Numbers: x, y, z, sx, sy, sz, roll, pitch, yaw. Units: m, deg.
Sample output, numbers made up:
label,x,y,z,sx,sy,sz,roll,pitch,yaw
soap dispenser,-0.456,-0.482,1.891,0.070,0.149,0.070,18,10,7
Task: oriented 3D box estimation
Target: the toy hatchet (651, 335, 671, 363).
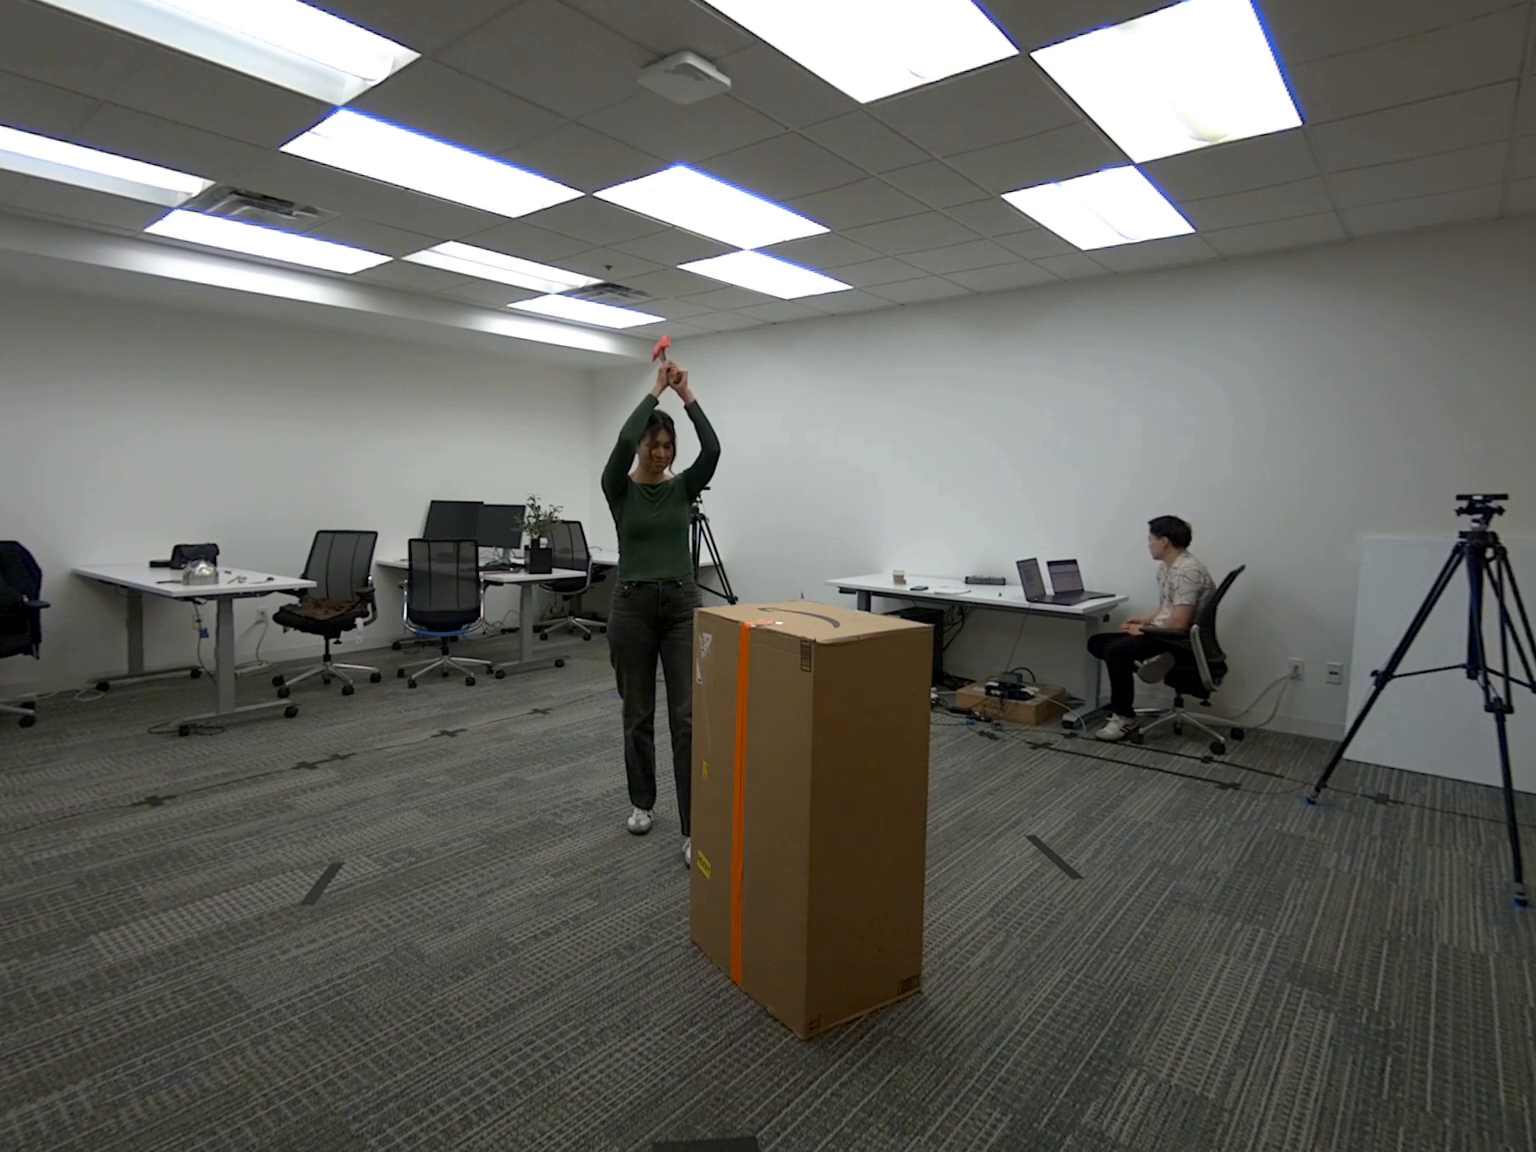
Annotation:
label,x,y,z,sx,sy,sz,roll,pitch,yaw
toy hatchet,-0.389,-0.847,3.291,0.028,0.130,0.282,6,26,-37
